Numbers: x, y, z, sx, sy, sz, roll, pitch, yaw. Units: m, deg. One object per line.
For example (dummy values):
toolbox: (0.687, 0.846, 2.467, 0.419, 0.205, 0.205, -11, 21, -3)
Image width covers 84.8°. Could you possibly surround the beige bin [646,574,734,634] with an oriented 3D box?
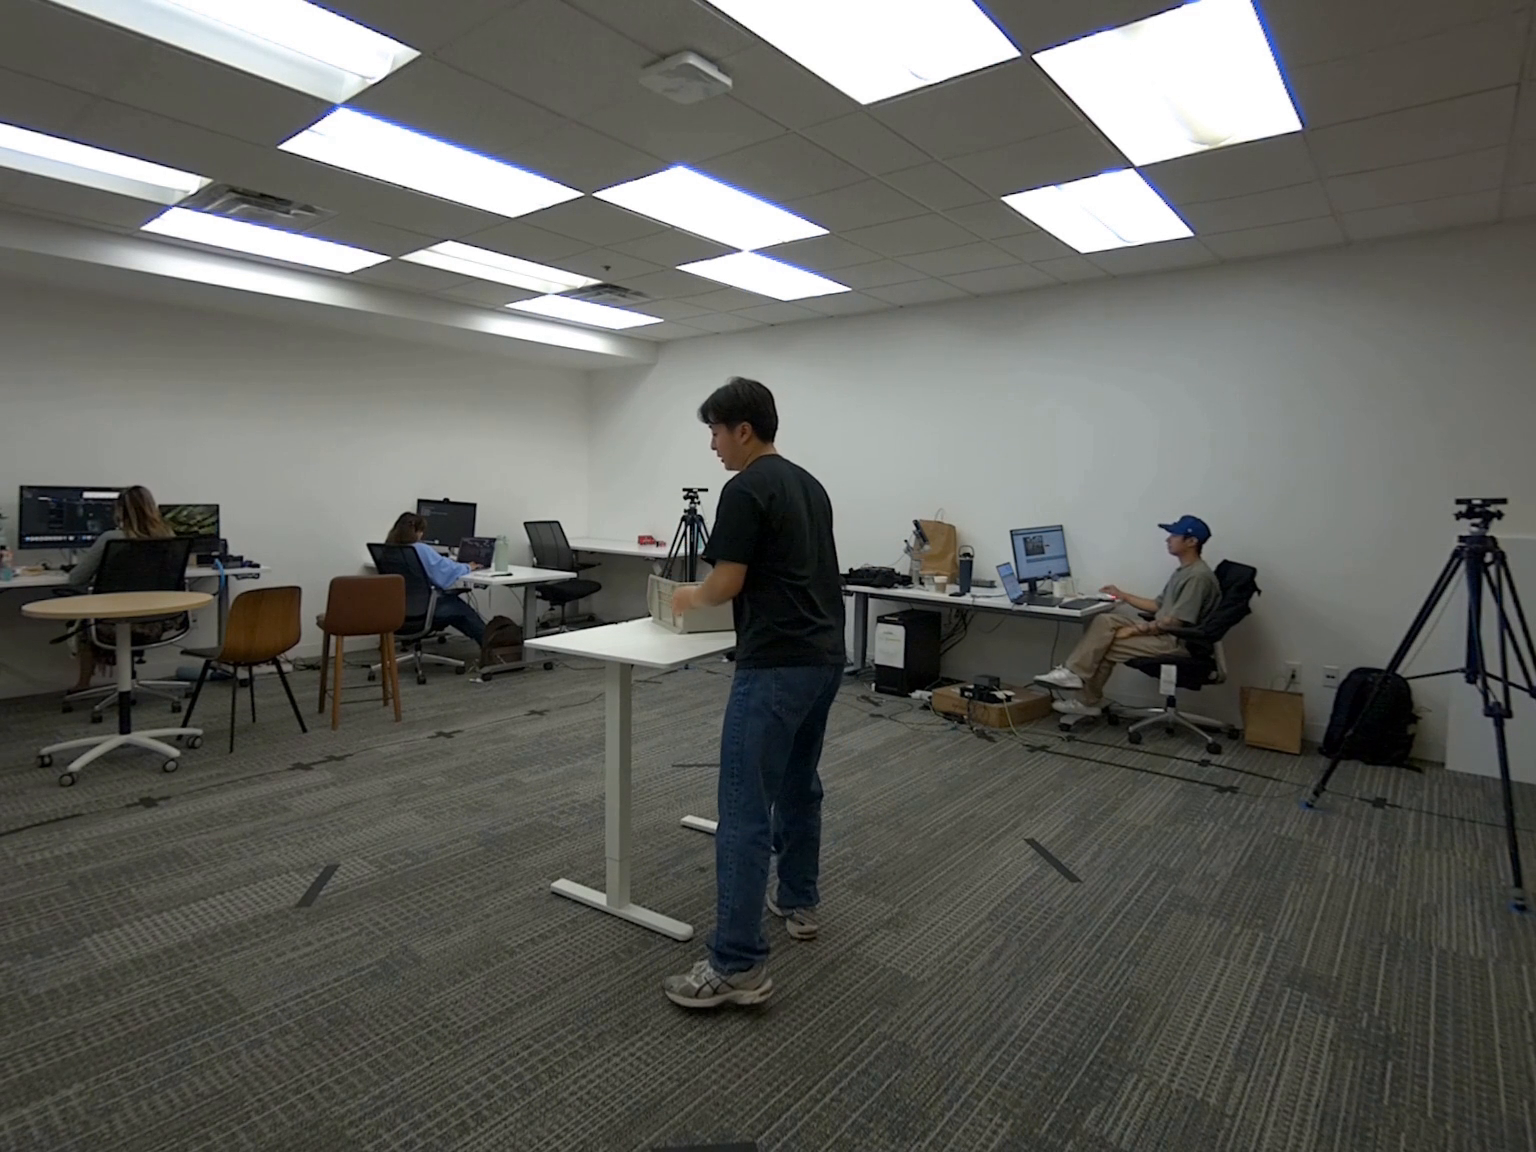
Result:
beige bin: (-0.208, 0.089, 3.180, 0.413, 0.188, 0.387, -2, 6, -23)
